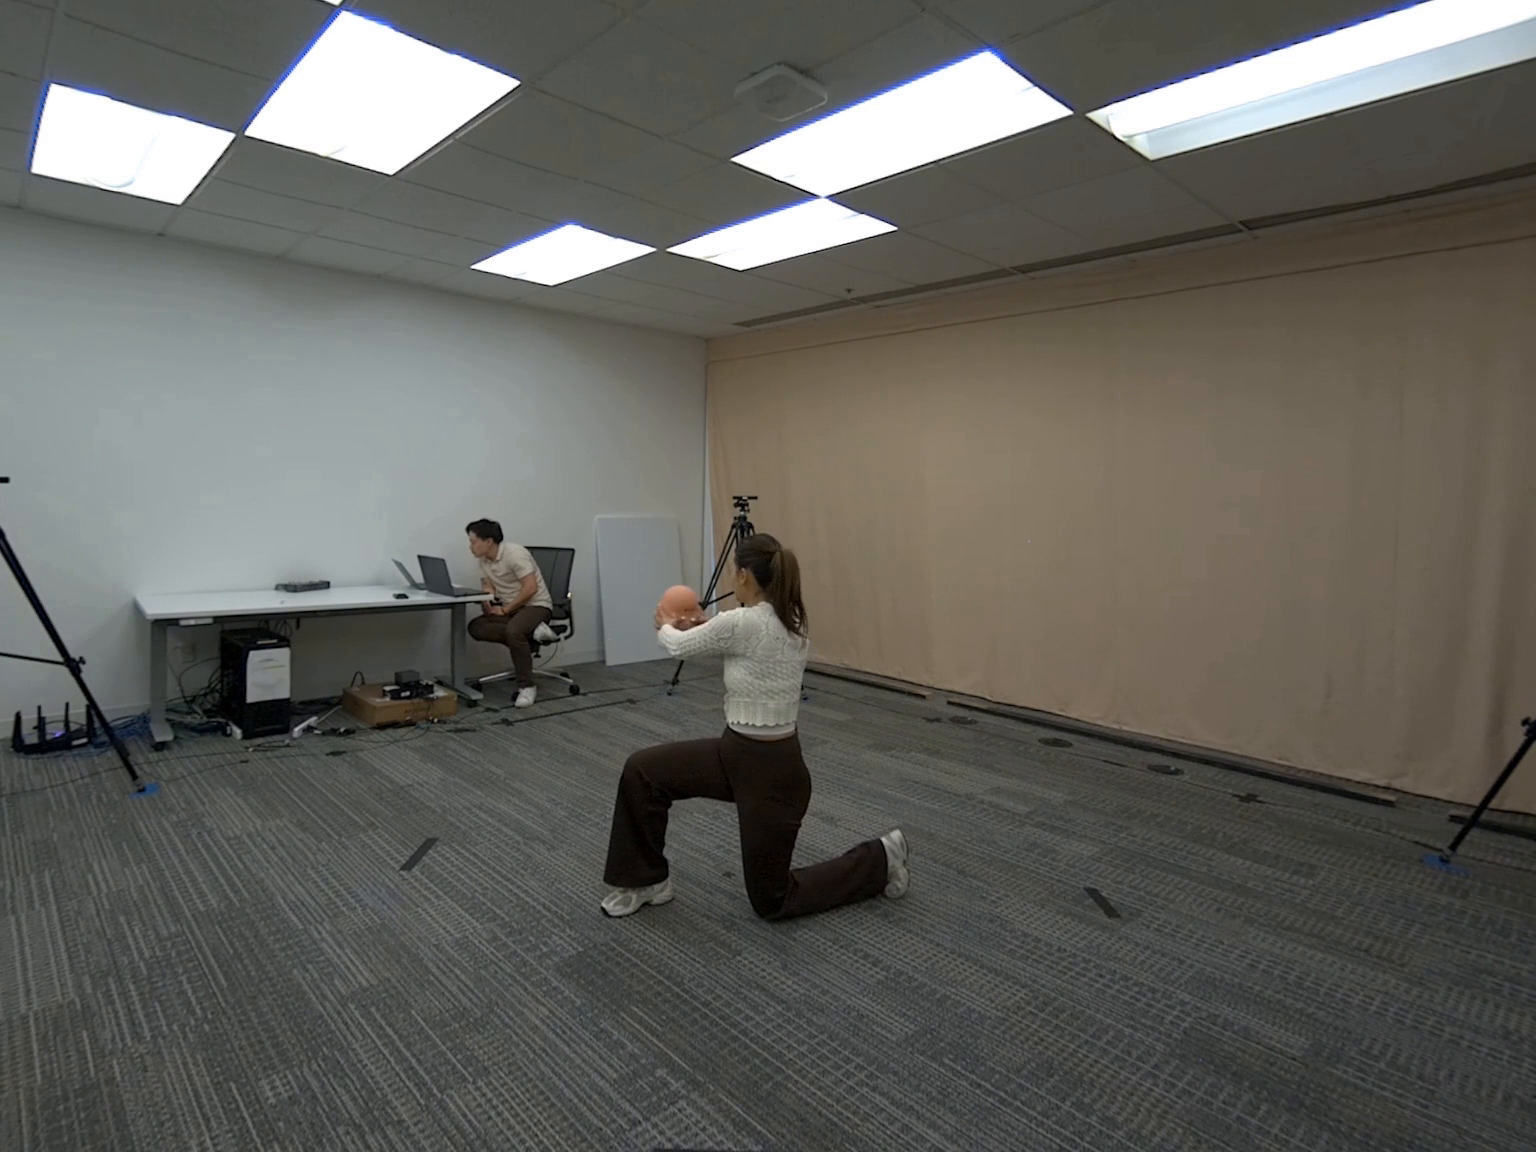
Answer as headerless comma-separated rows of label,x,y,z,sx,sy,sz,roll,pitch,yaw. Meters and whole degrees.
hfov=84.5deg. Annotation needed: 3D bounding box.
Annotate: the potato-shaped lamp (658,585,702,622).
potato-shaped lamp,-0.347,0.137,3.230,0.161,0.196,0.177,-4,32,-39
